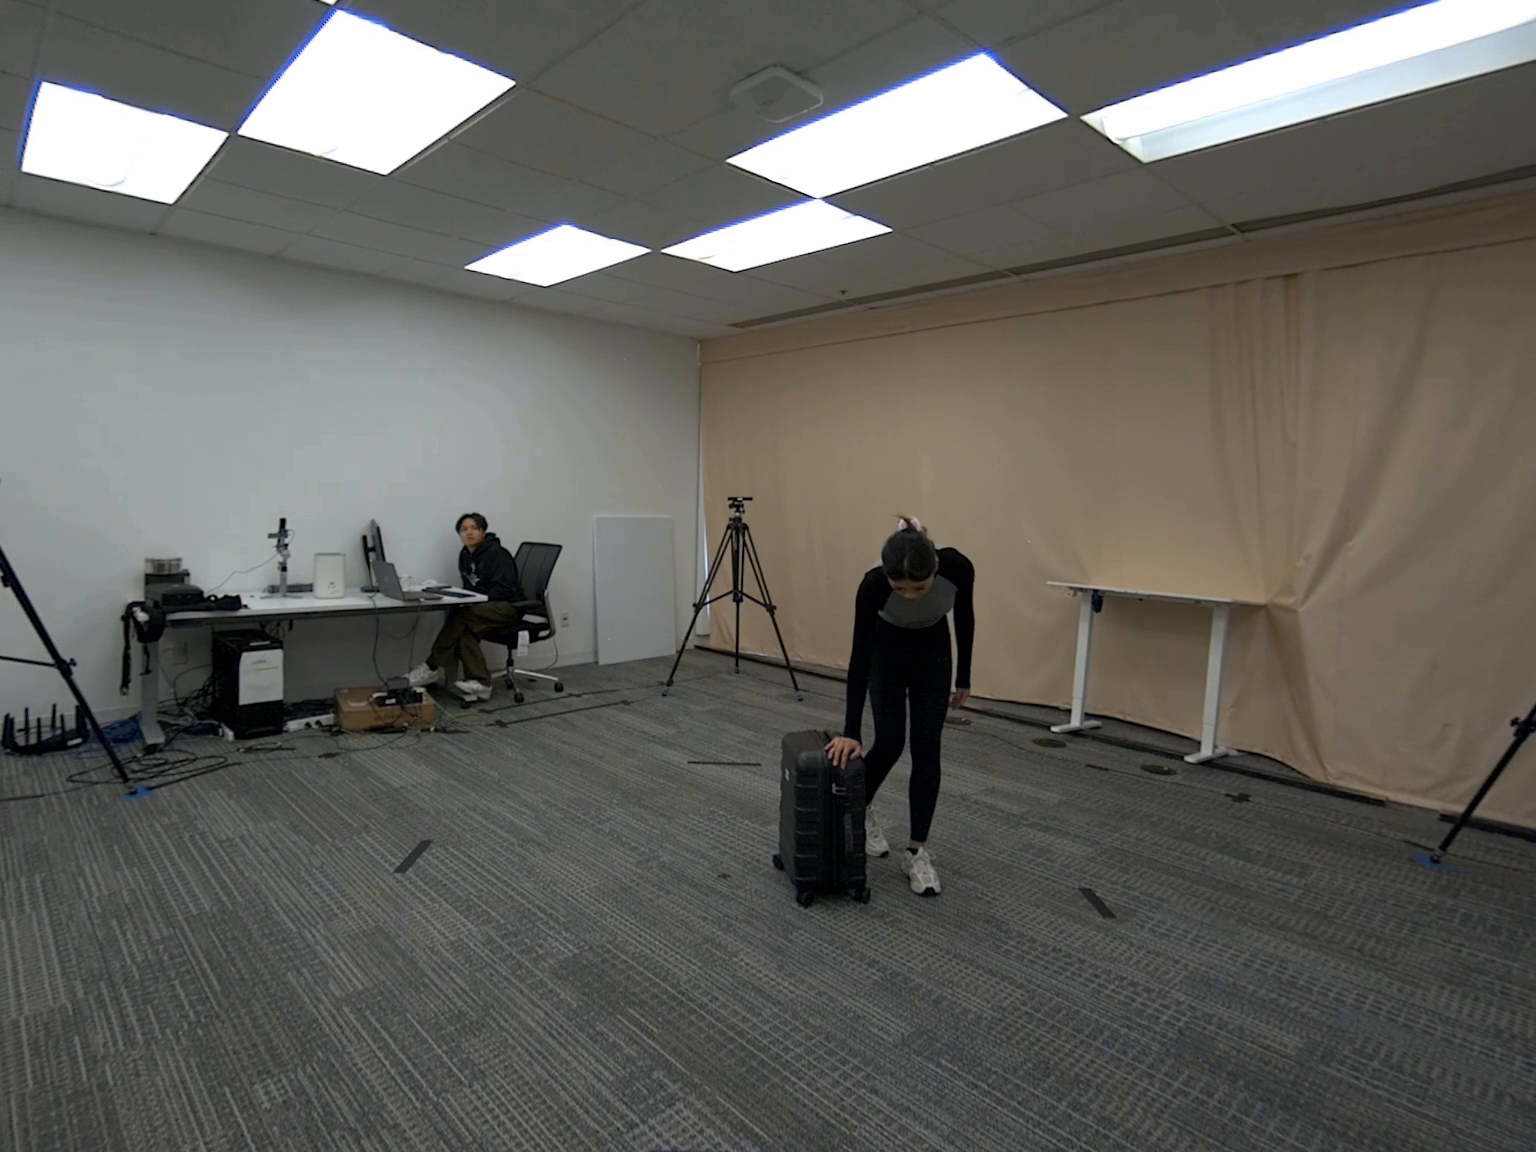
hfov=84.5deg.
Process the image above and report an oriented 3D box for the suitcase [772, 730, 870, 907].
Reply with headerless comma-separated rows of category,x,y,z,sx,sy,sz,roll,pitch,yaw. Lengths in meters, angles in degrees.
suitcase,0.181,0.845,3.014,0.246,0.547,0.380,0,5,-11
